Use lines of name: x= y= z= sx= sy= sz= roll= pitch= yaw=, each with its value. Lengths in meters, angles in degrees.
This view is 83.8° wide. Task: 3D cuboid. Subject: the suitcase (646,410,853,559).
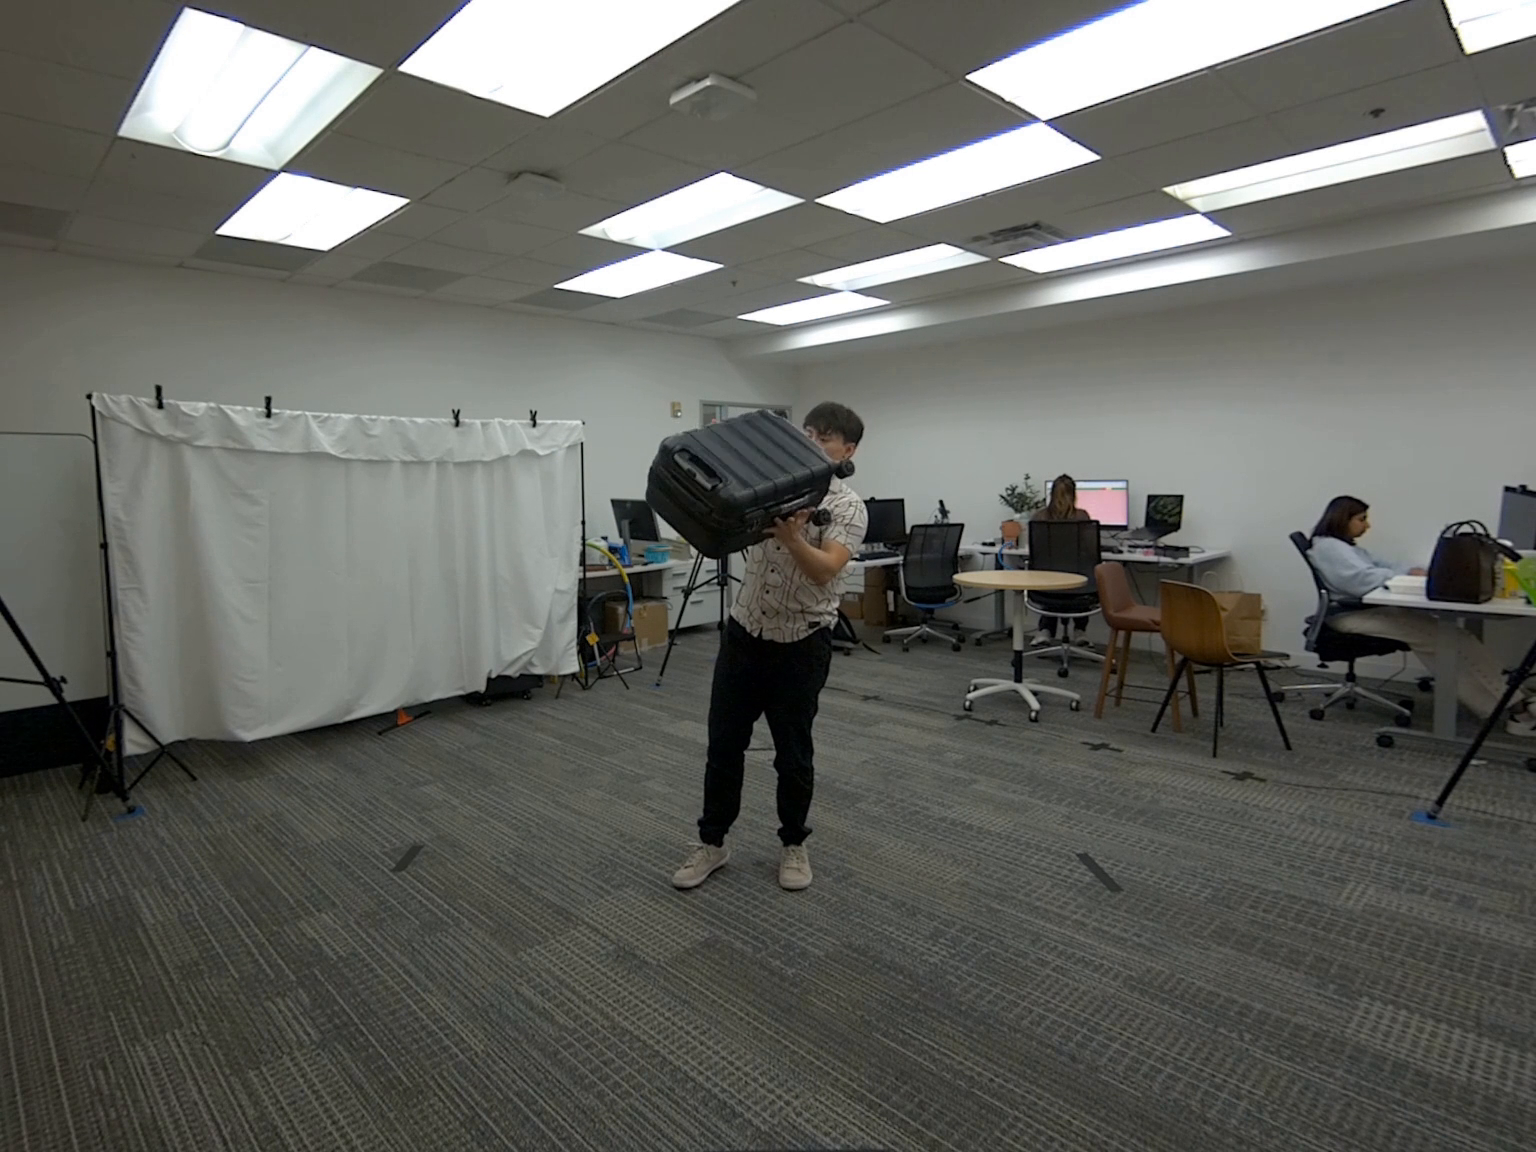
suitcase: x=-0.069 y=-0.282 z=2.562 sx=0.540 sy=0.244 sz=0.387 roll=-24 pitch=56 yaw=-41
